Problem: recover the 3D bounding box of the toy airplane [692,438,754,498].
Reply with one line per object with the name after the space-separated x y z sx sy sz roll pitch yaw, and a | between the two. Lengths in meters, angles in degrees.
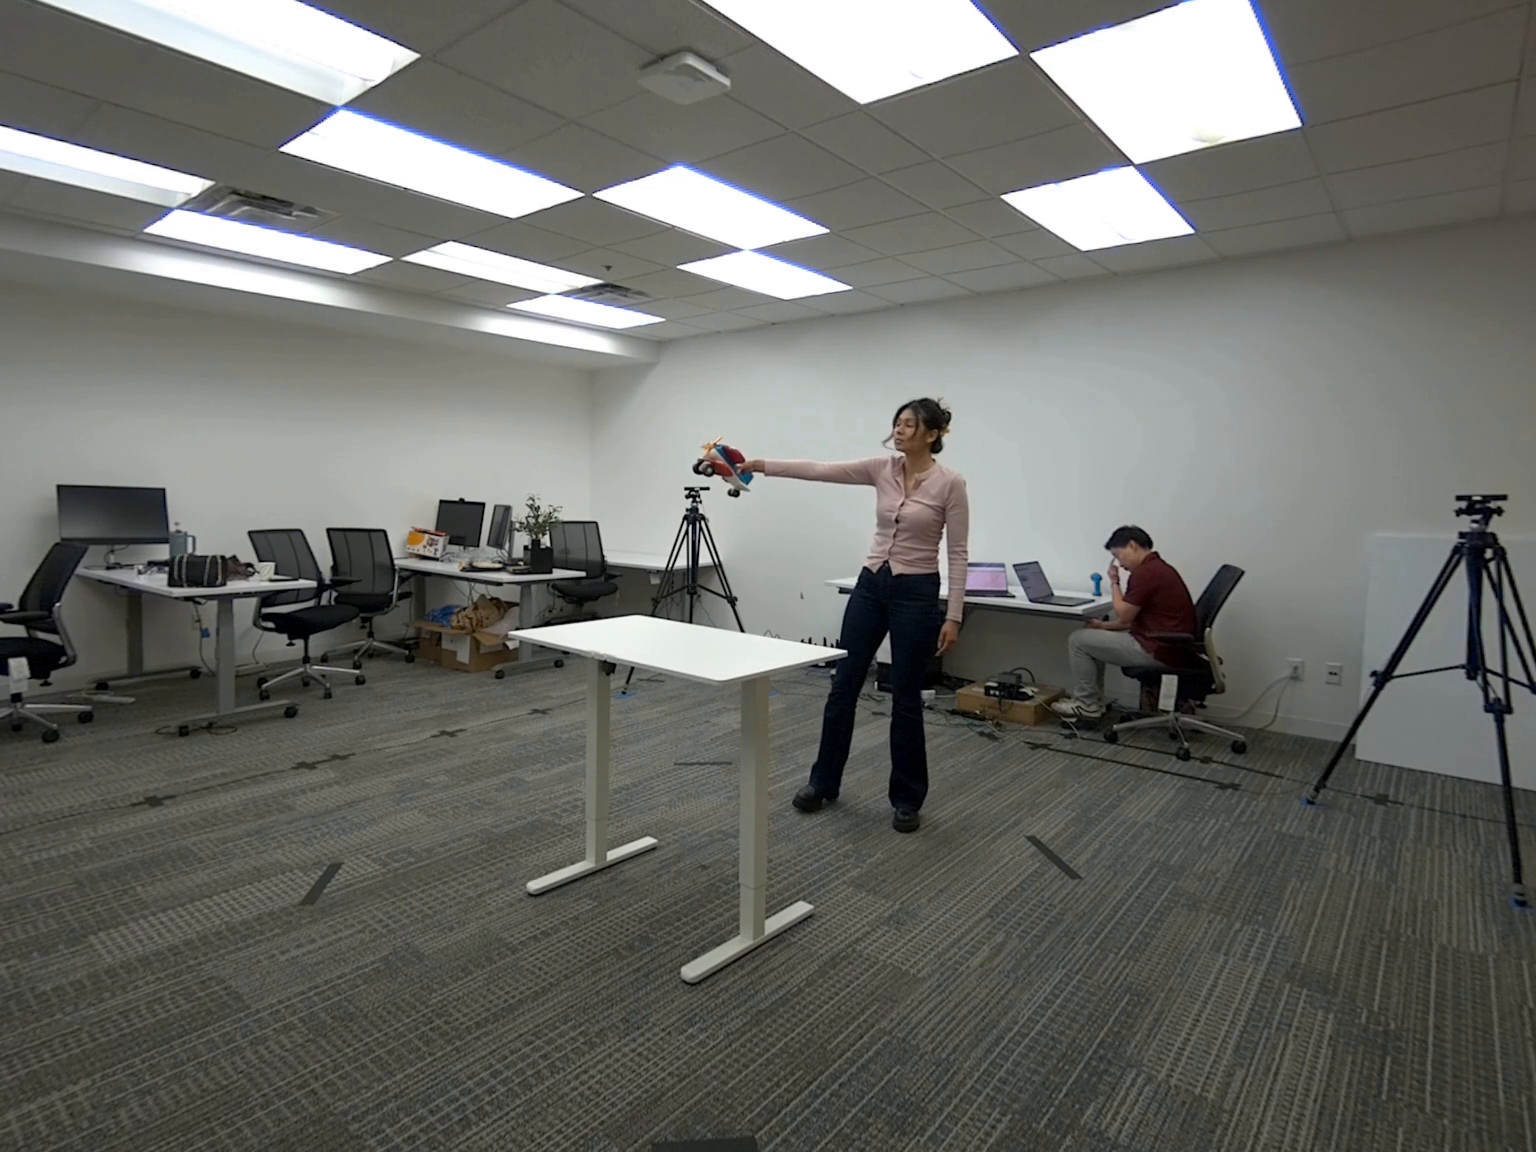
-0.204 -0.451 3.543 0.261 0.157 0.249 26 -7 32 | toy airplane
